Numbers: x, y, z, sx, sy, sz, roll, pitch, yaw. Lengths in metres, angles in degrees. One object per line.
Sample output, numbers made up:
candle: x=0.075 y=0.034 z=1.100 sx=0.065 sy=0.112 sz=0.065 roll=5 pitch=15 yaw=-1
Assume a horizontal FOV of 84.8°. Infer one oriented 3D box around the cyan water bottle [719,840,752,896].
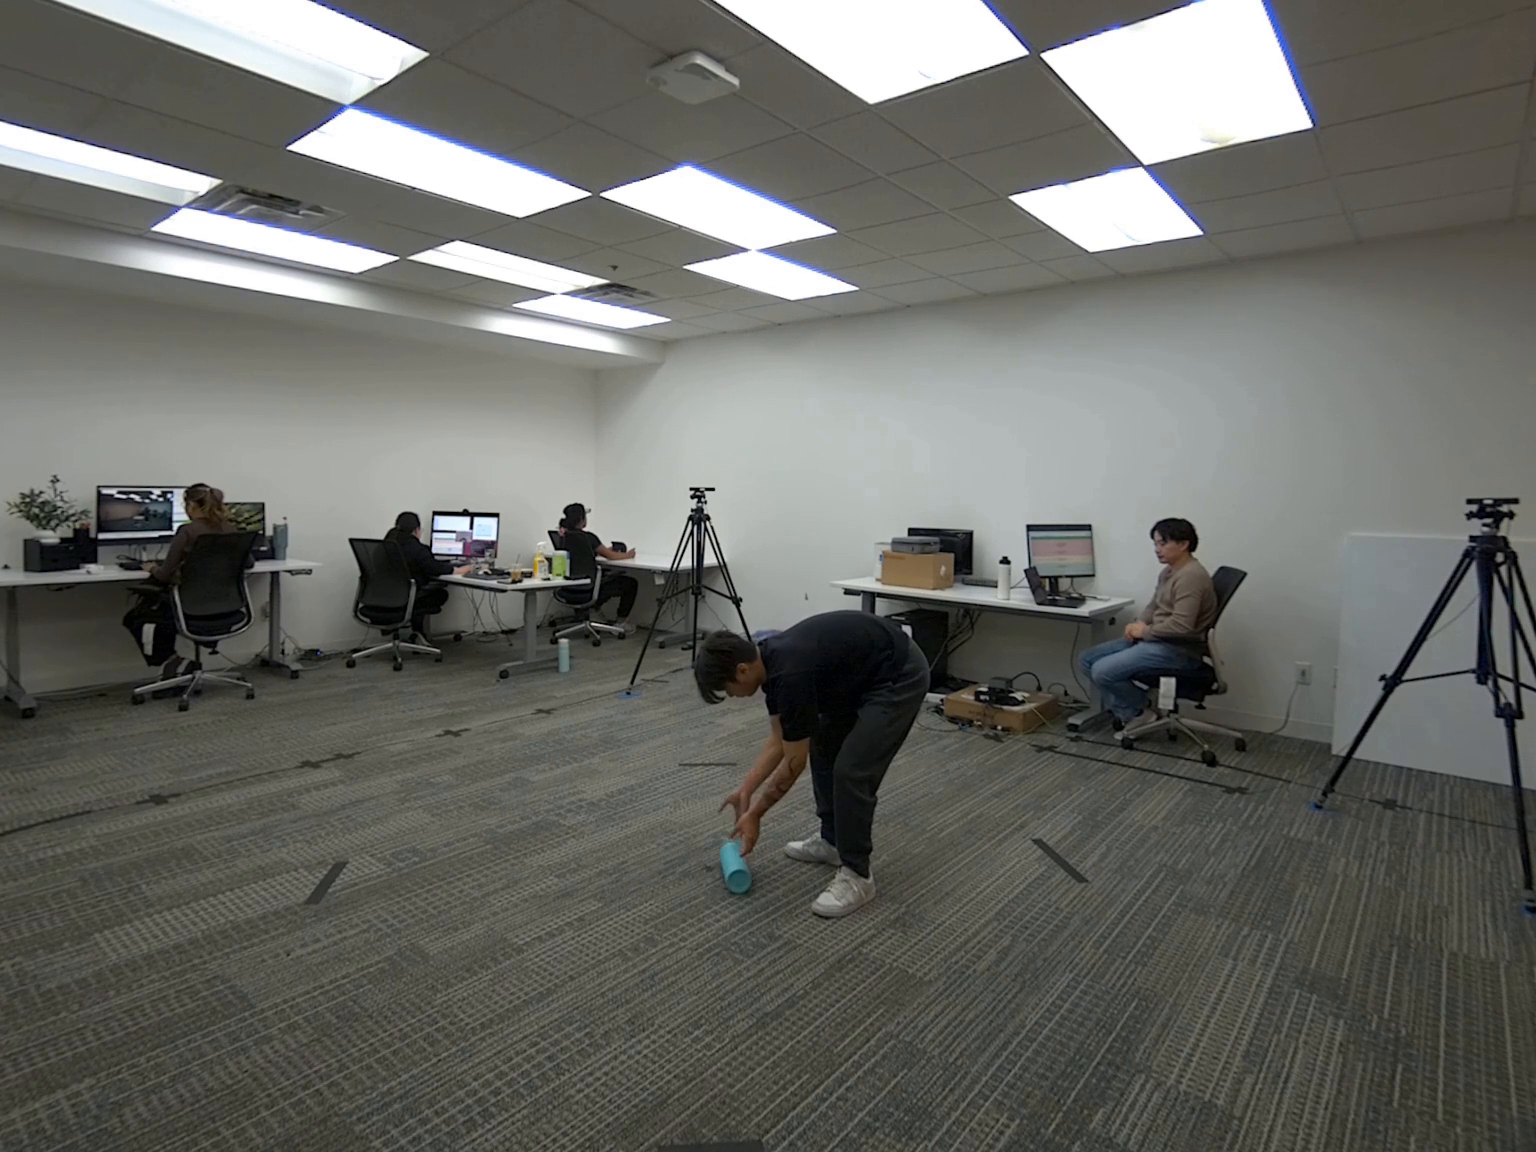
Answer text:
cyan water bottle: x=-0.131 y=1.024 z=3.047 sx=0.091 sy=0.092 sz=0.286 roll=0 pitch=3 yaw=-10
